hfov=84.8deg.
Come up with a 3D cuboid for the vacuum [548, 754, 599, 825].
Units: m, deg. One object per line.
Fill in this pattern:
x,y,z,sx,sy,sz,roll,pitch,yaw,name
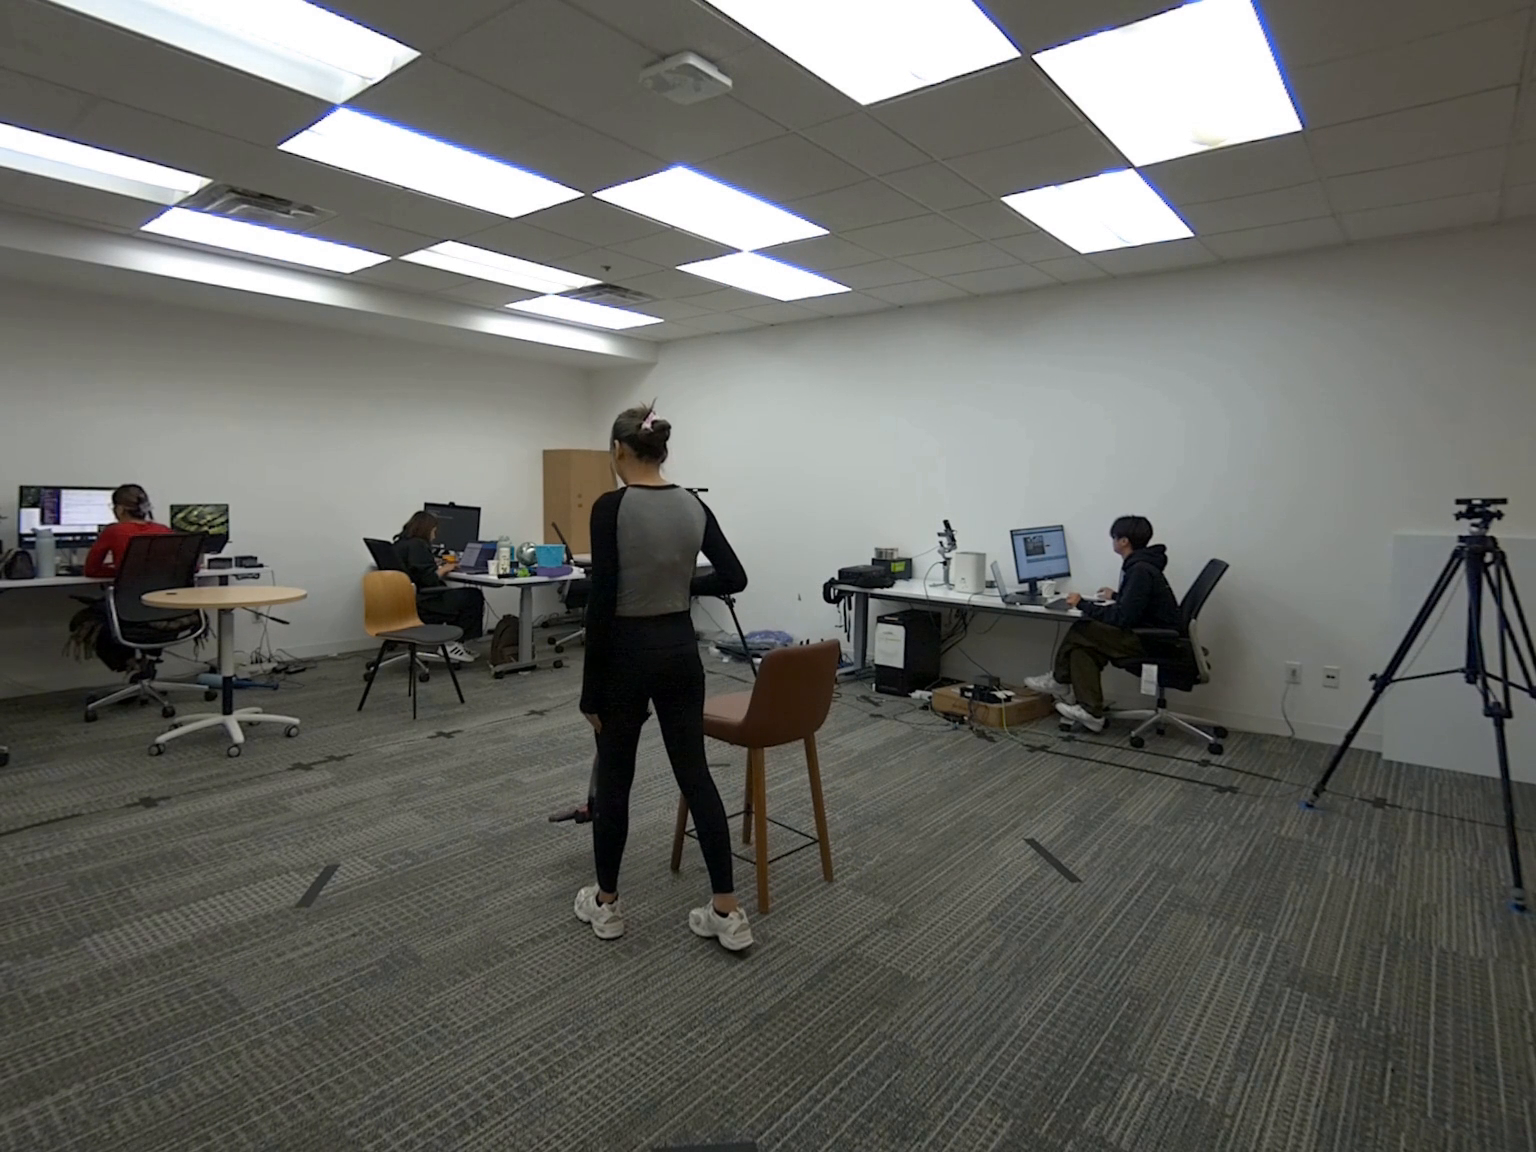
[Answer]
-0.509,0.463,2.986,0.245,1.039,0.150,-3,35,-49,vacuum
